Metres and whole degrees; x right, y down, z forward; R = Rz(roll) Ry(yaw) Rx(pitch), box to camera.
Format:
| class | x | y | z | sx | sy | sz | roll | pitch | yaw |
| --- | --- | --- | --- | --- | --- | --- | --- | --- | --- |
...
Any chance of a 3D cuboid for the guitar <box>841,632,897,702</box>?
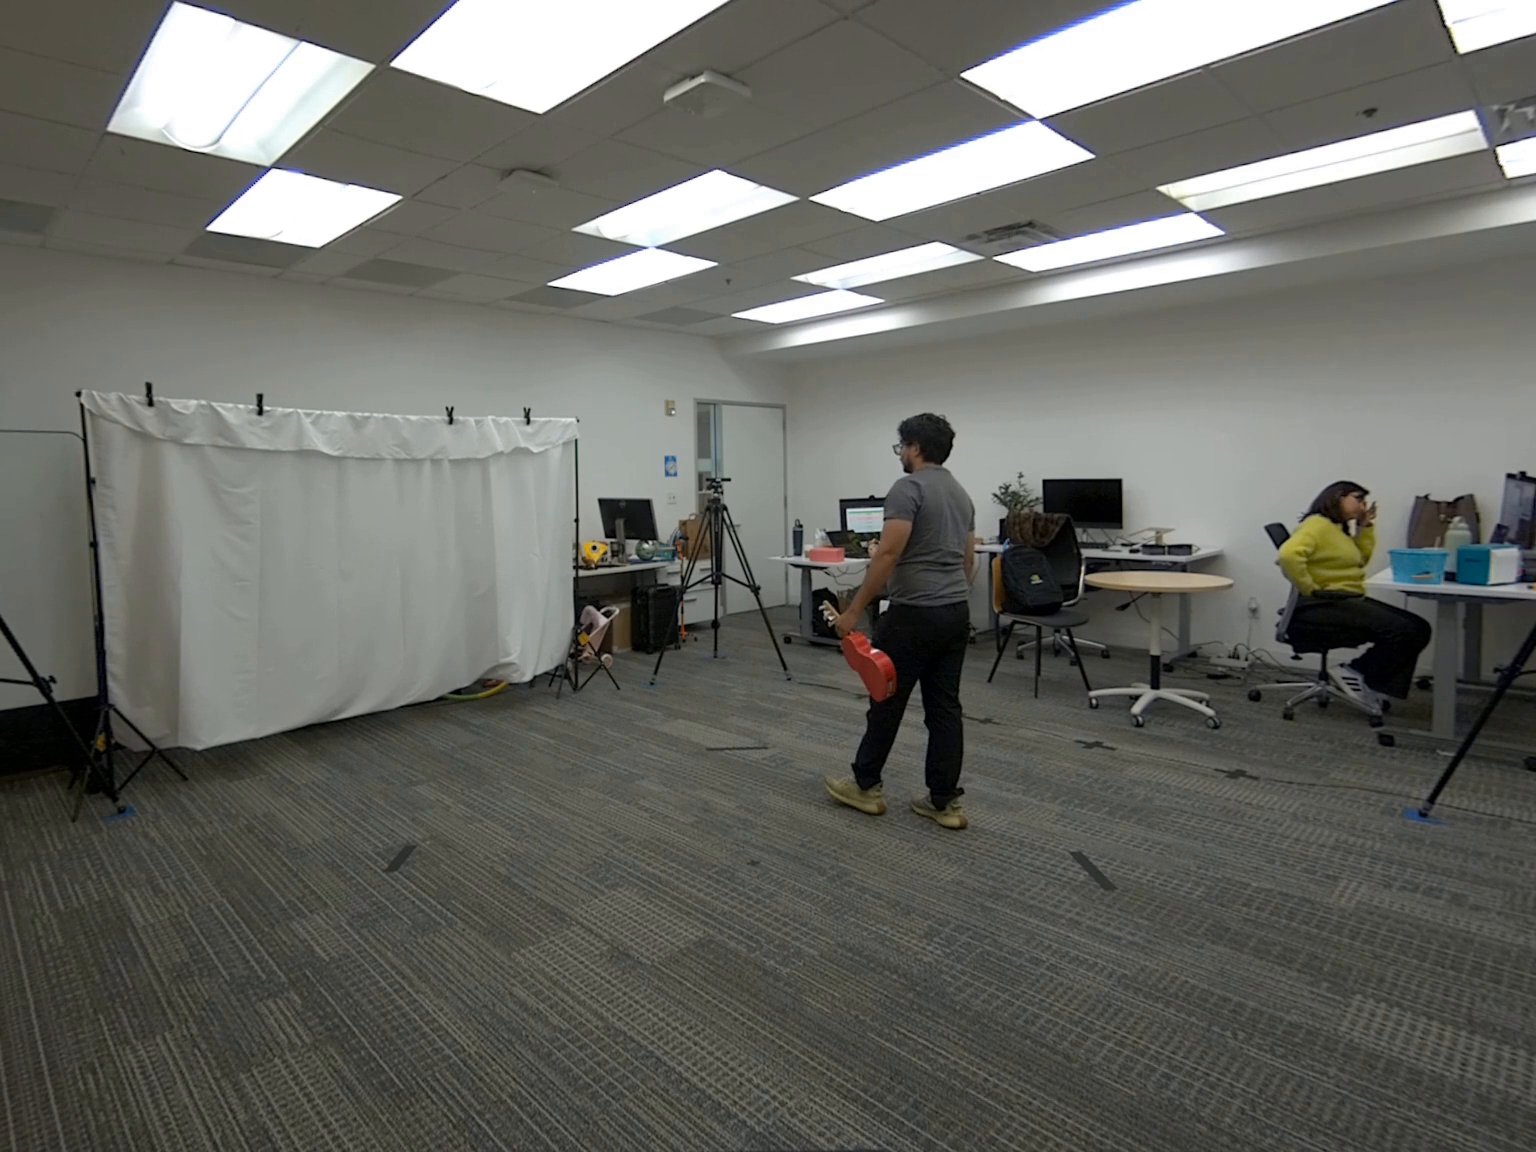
| class | x | y | z | sx | sy | sz | roll | pitch | yaw |
| --- | --- | --- | --- | --- | --- | --- | --- | --- | --- |
| guitar | 0.326 | 0.284 | 3.325 | 0.070 | 0.188 | 0.517 | -19 | 34 | -19 |
